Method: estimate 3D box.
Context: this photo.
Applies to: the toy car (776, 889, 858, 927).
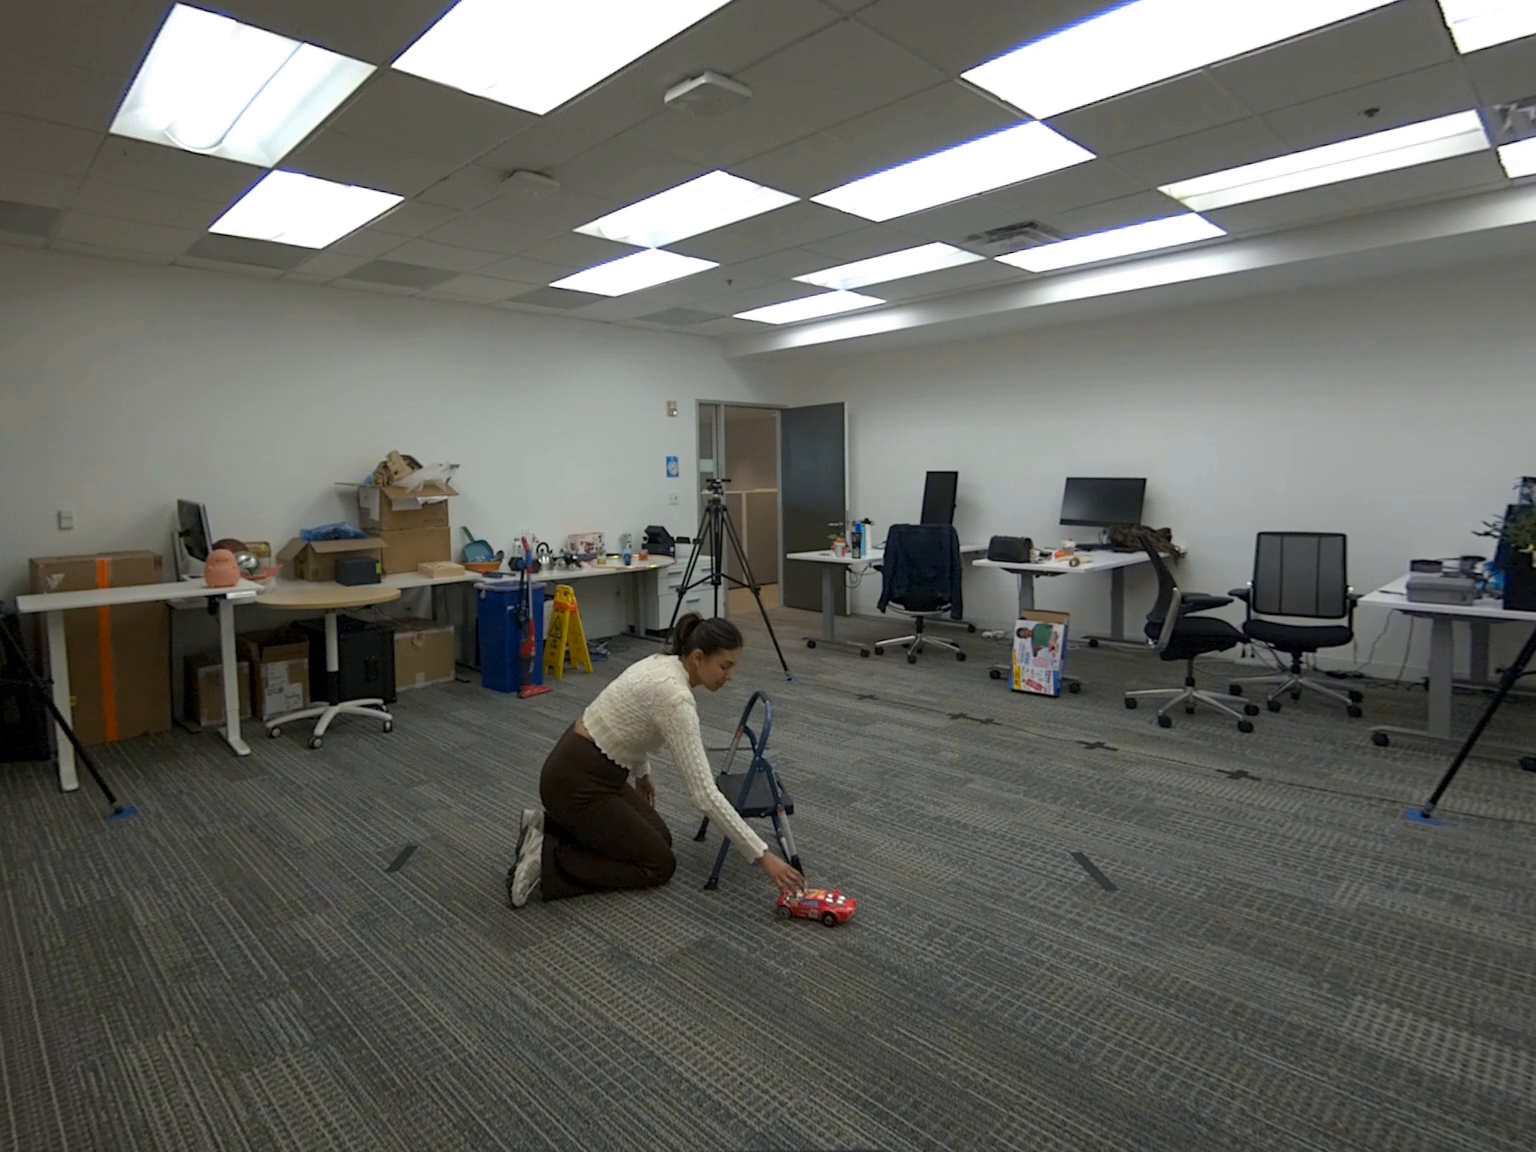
[{"bbox_3d":[0.155,1.046,2.721,0.259,0.083,0.128,-11,0,23],"label":"toy car"}]
